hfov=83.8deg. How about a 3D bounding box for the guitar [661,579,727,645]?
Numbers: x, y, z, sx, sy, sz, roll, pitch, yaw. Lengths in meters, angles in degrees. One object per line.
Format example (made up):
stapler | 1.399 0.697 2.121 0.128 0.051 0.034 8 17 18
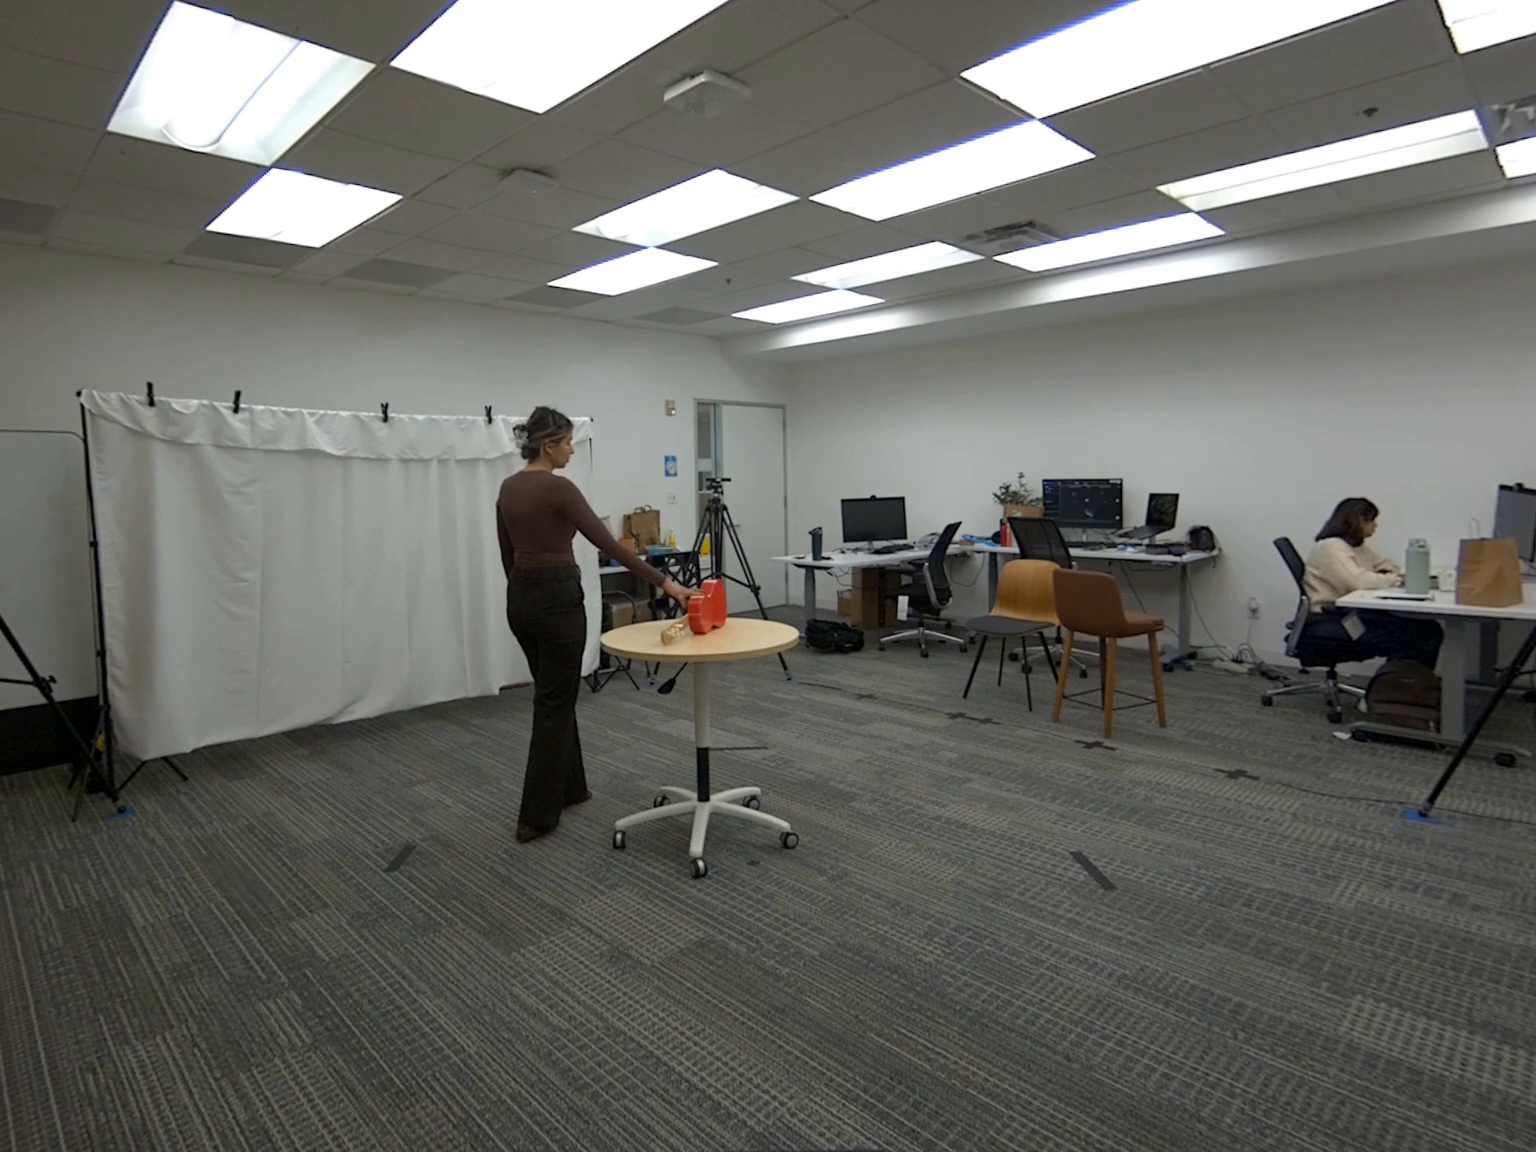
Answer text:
guitar | -0.277 0.185 3.292 0.072 0.189 0.498 0 23 19
